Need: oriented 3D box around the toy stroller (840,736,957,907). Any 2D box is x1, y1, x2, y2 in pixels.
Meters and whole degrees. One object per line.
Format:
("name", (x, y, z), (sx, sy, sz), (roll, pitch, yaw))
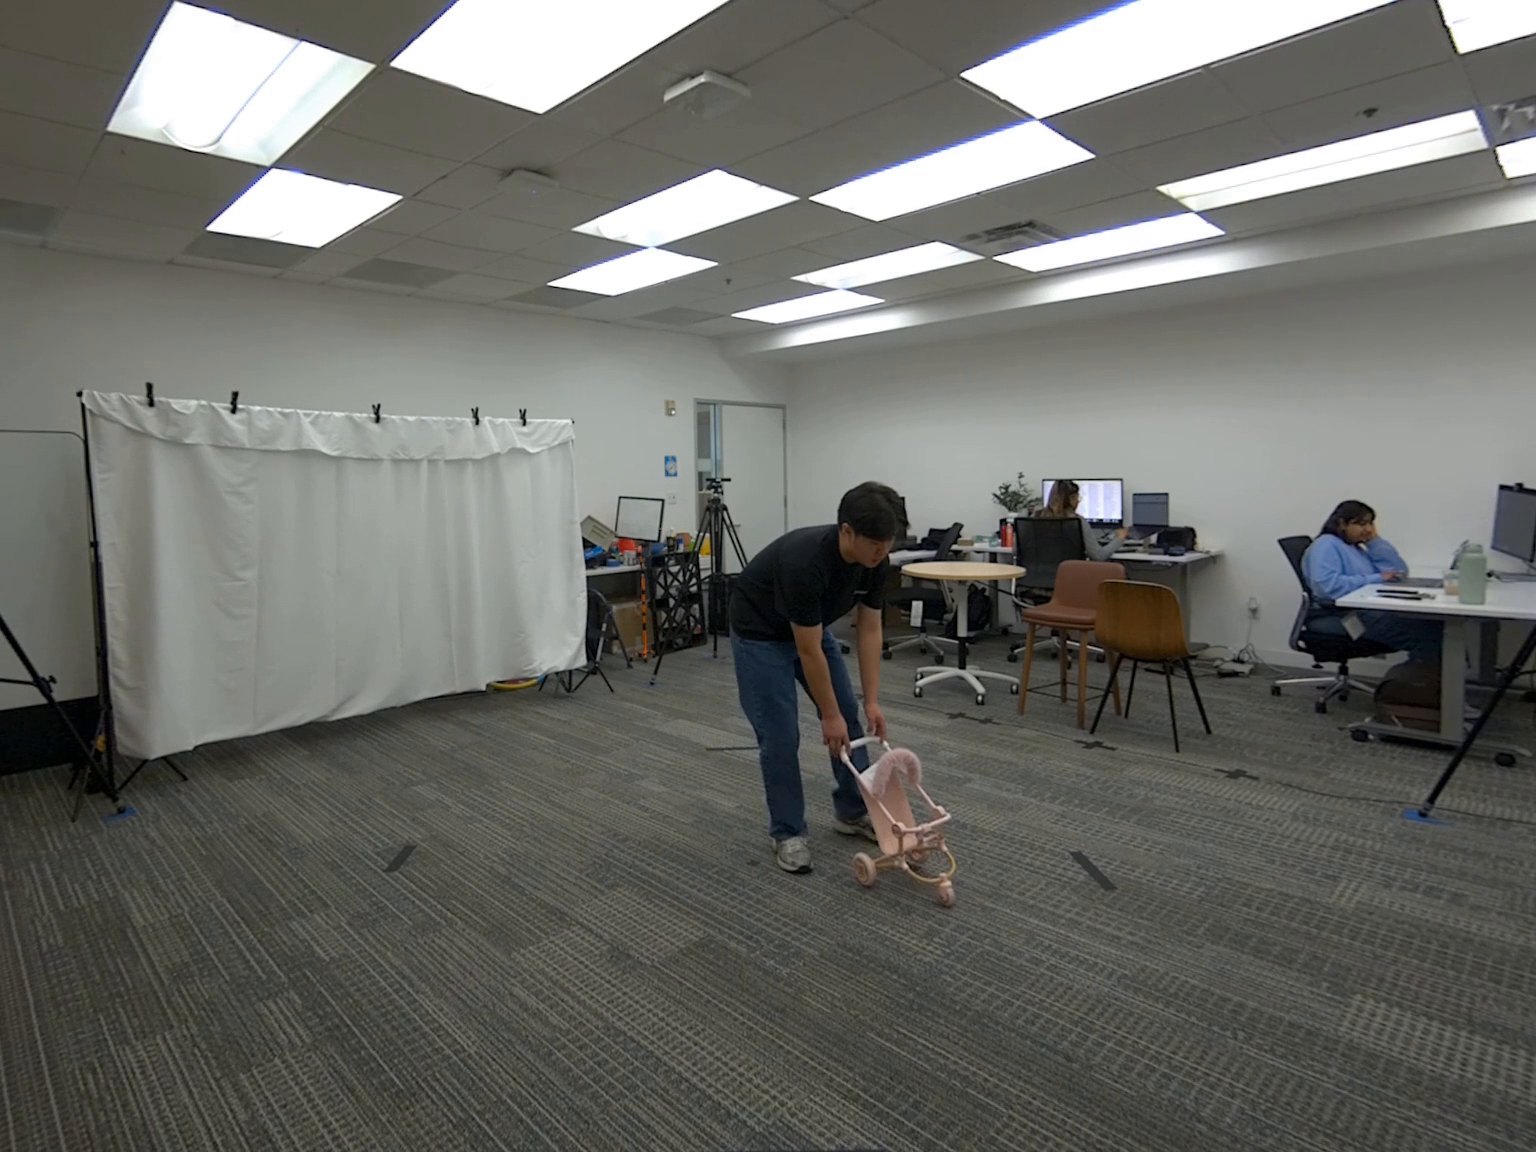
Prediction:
("toy stroller", (0.461, 0.827, 2.912), (0.275, 0.539, 0.346), (-6, -8, -30))
